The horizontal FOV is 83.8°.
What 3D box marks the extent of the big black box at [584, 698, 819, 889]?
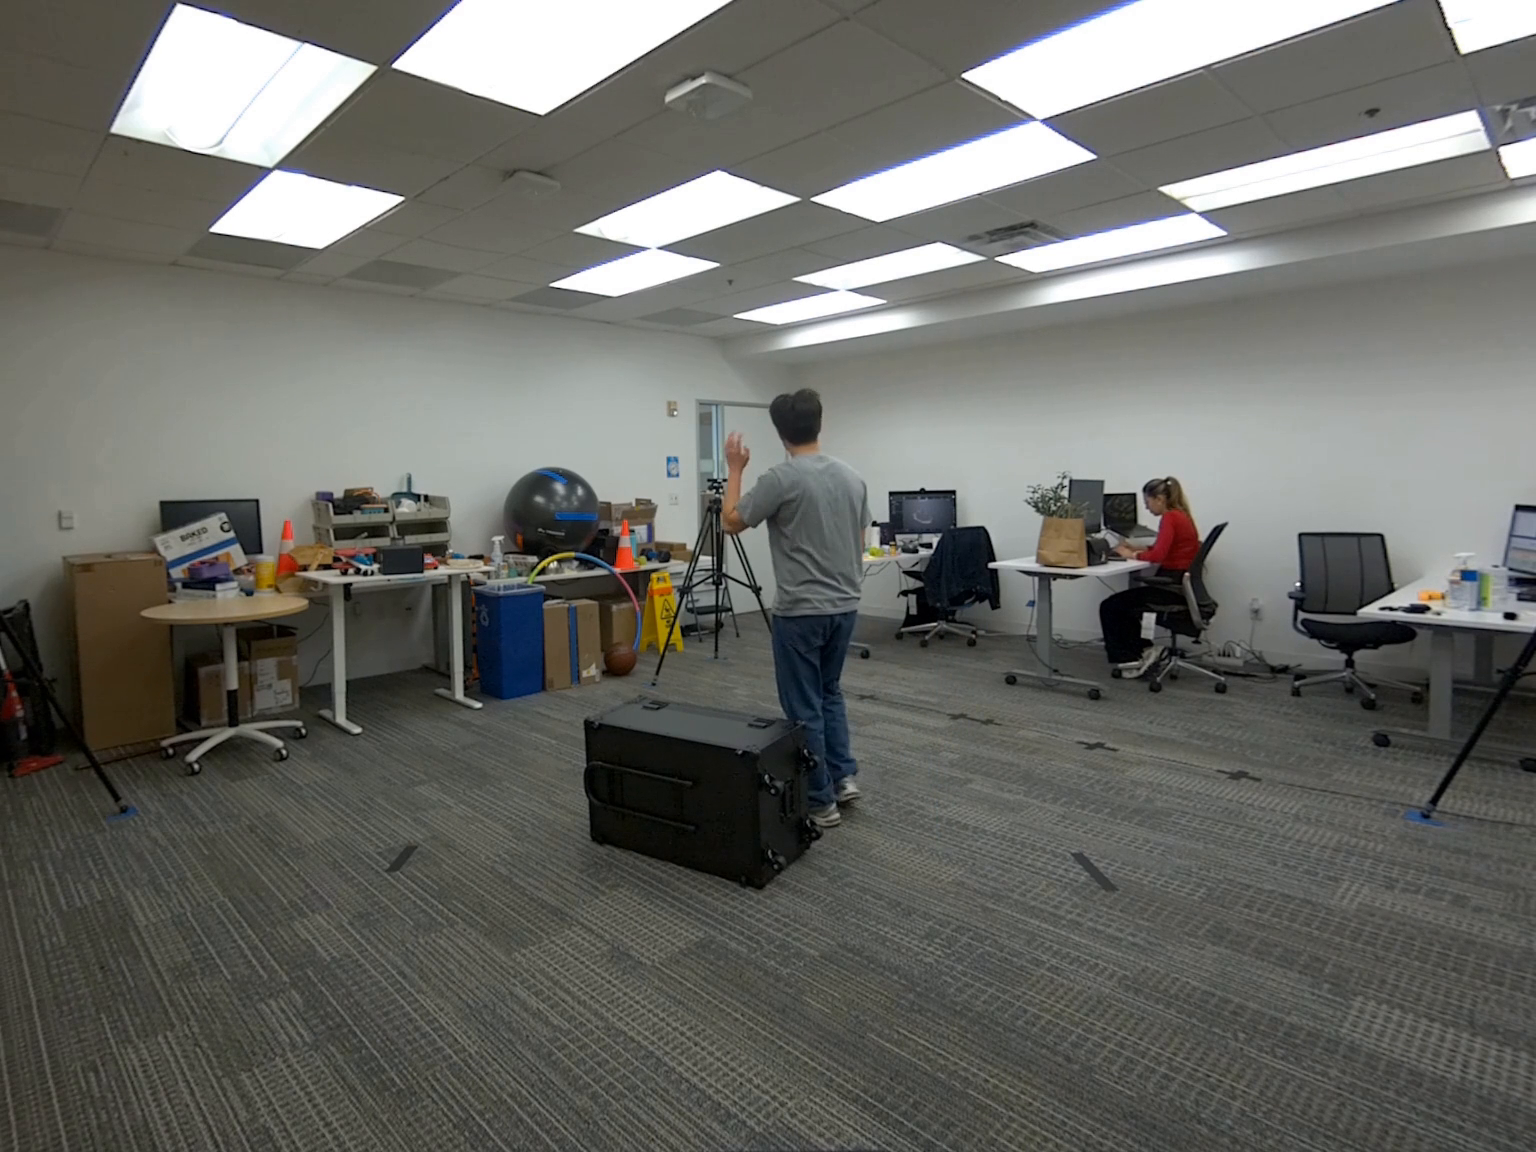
[{"bbox_3d":[-0.258,0.779,3.207,0.885,0.518,0.388,2,8,32],"label":"big black box"}]
